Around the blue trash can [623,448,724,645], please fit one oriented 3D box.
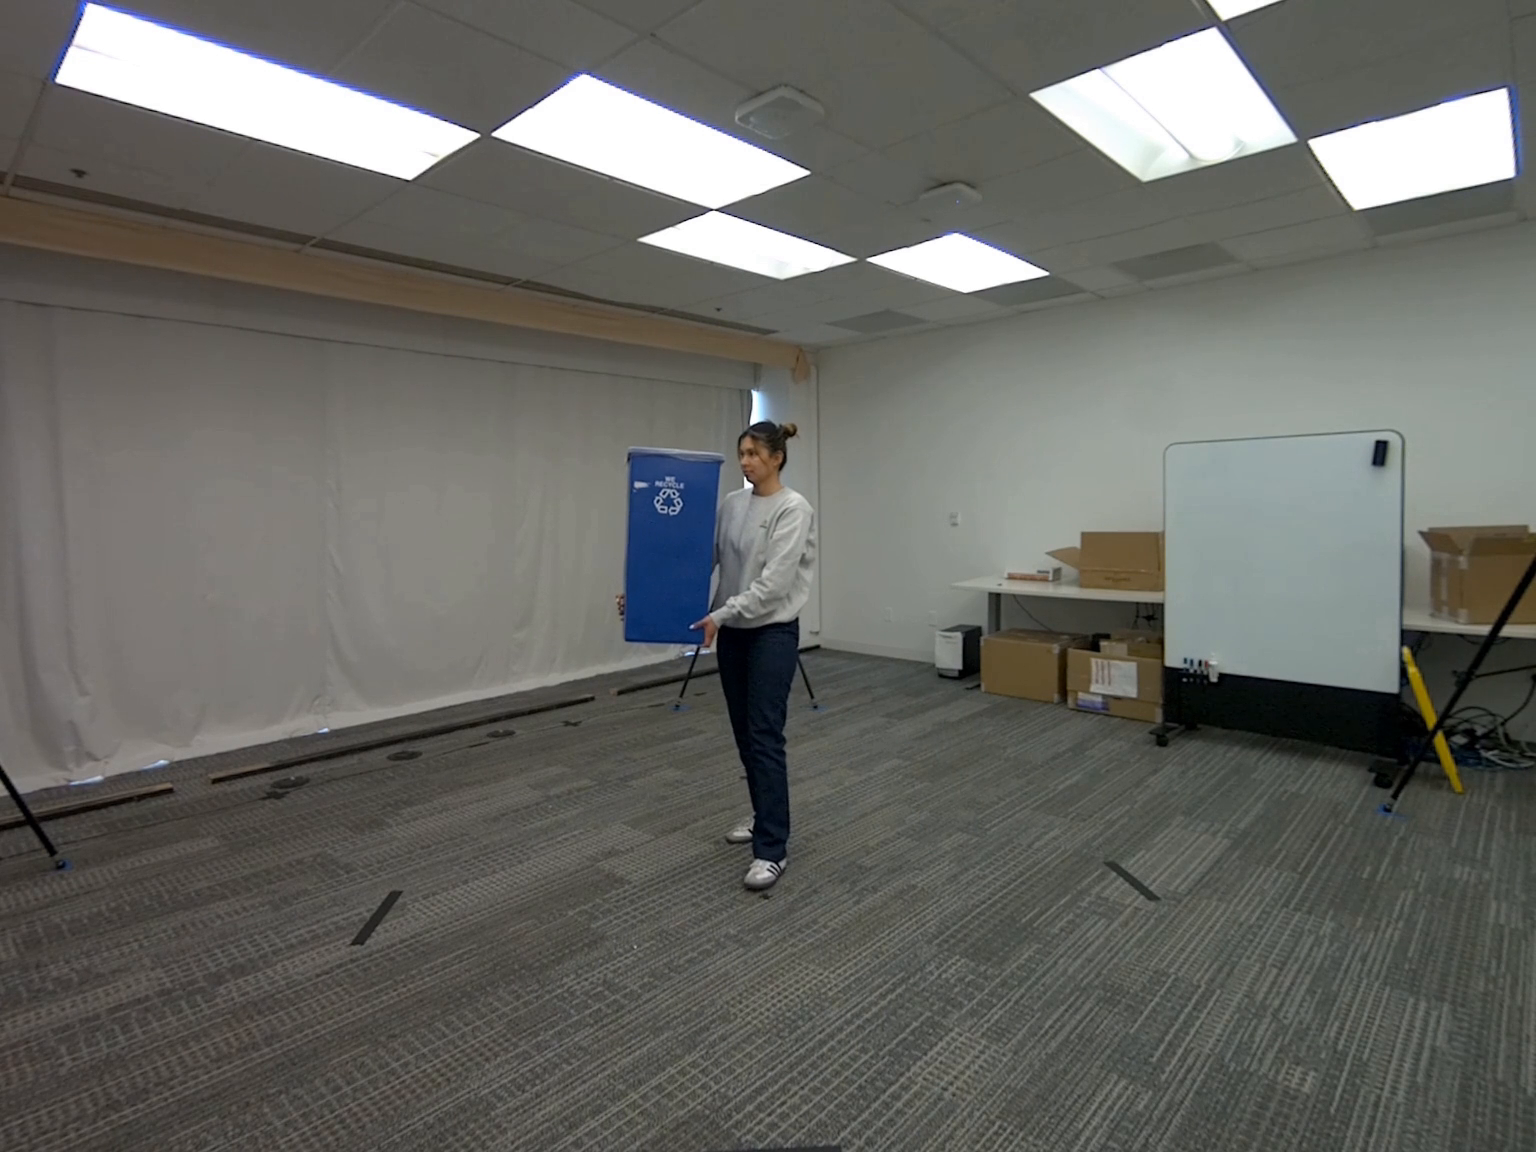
[{"bbox_3d":[-0.378,-0.112,3.270,0.371,0.714,0.381,3,-1,-9],"label":"blue trash can"}]
